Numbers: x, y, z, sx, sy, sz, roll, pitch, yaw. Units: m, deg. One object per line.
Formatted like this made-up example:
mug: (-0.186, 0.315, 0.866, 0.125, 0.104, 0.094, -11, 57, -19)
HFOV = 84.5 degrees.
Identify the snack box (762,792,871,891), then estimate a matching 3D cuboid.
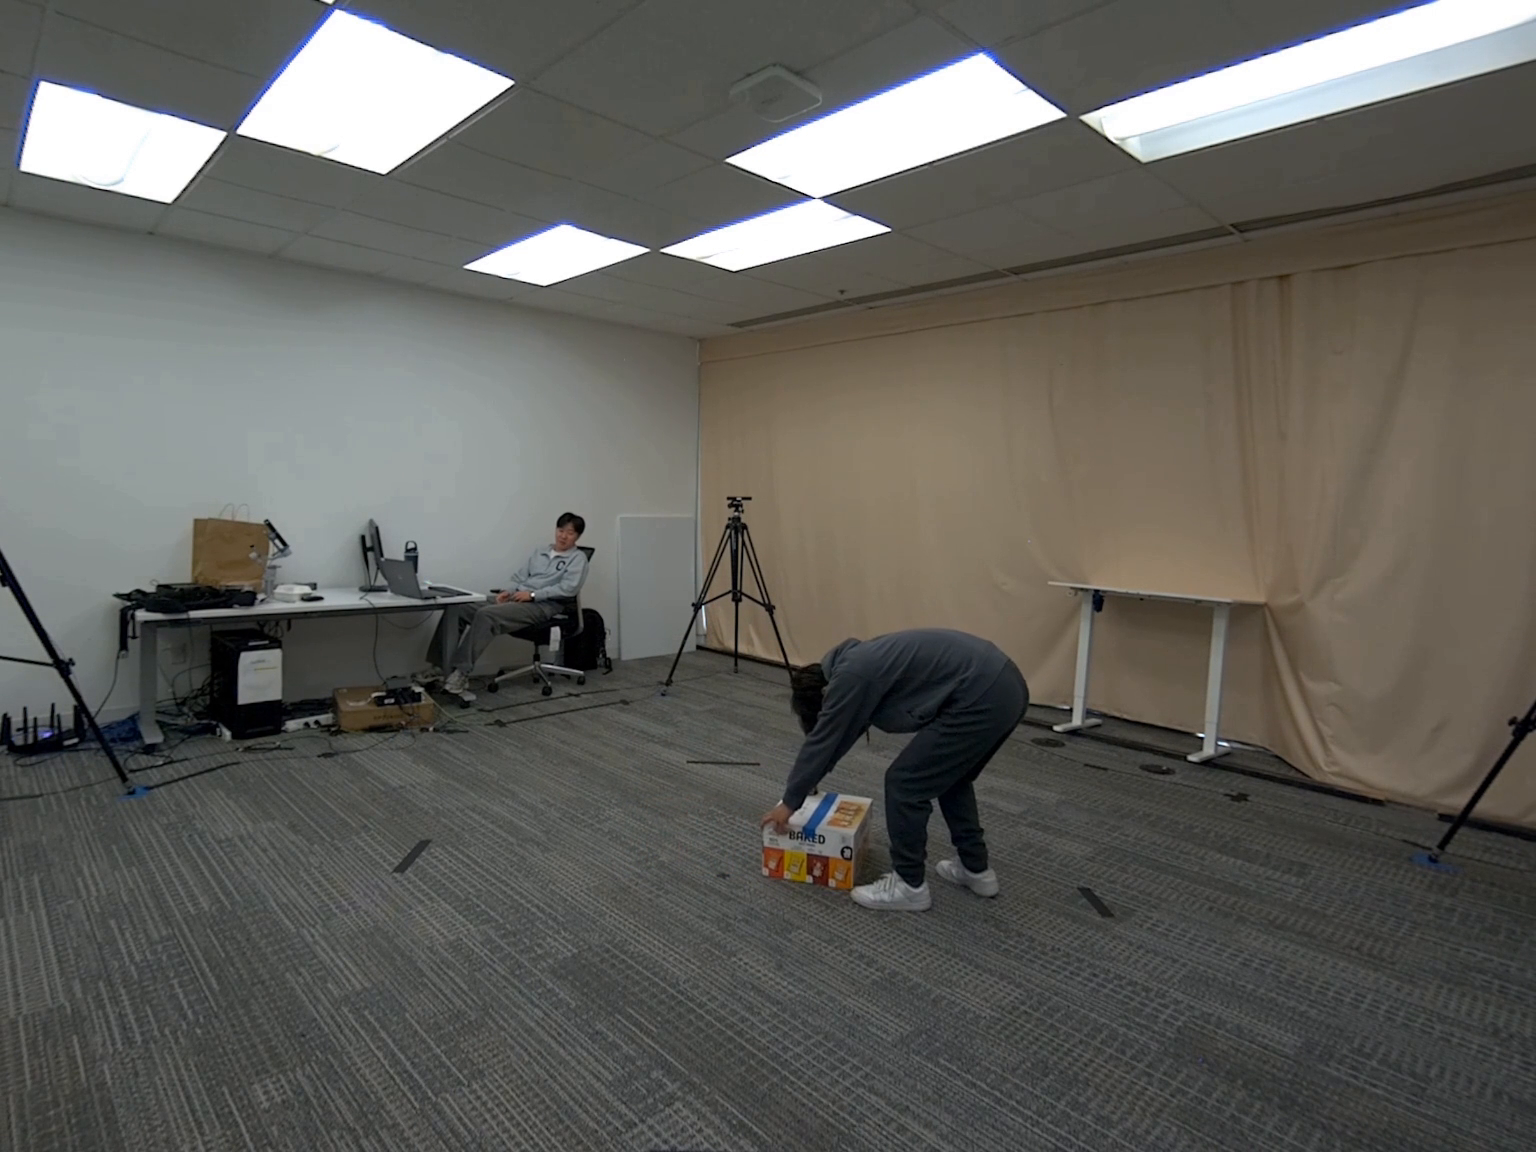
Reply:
snack box: (0.194, 1.002, 3.244, 0.345, 0.205, 0.400, 3, 4, 17)
